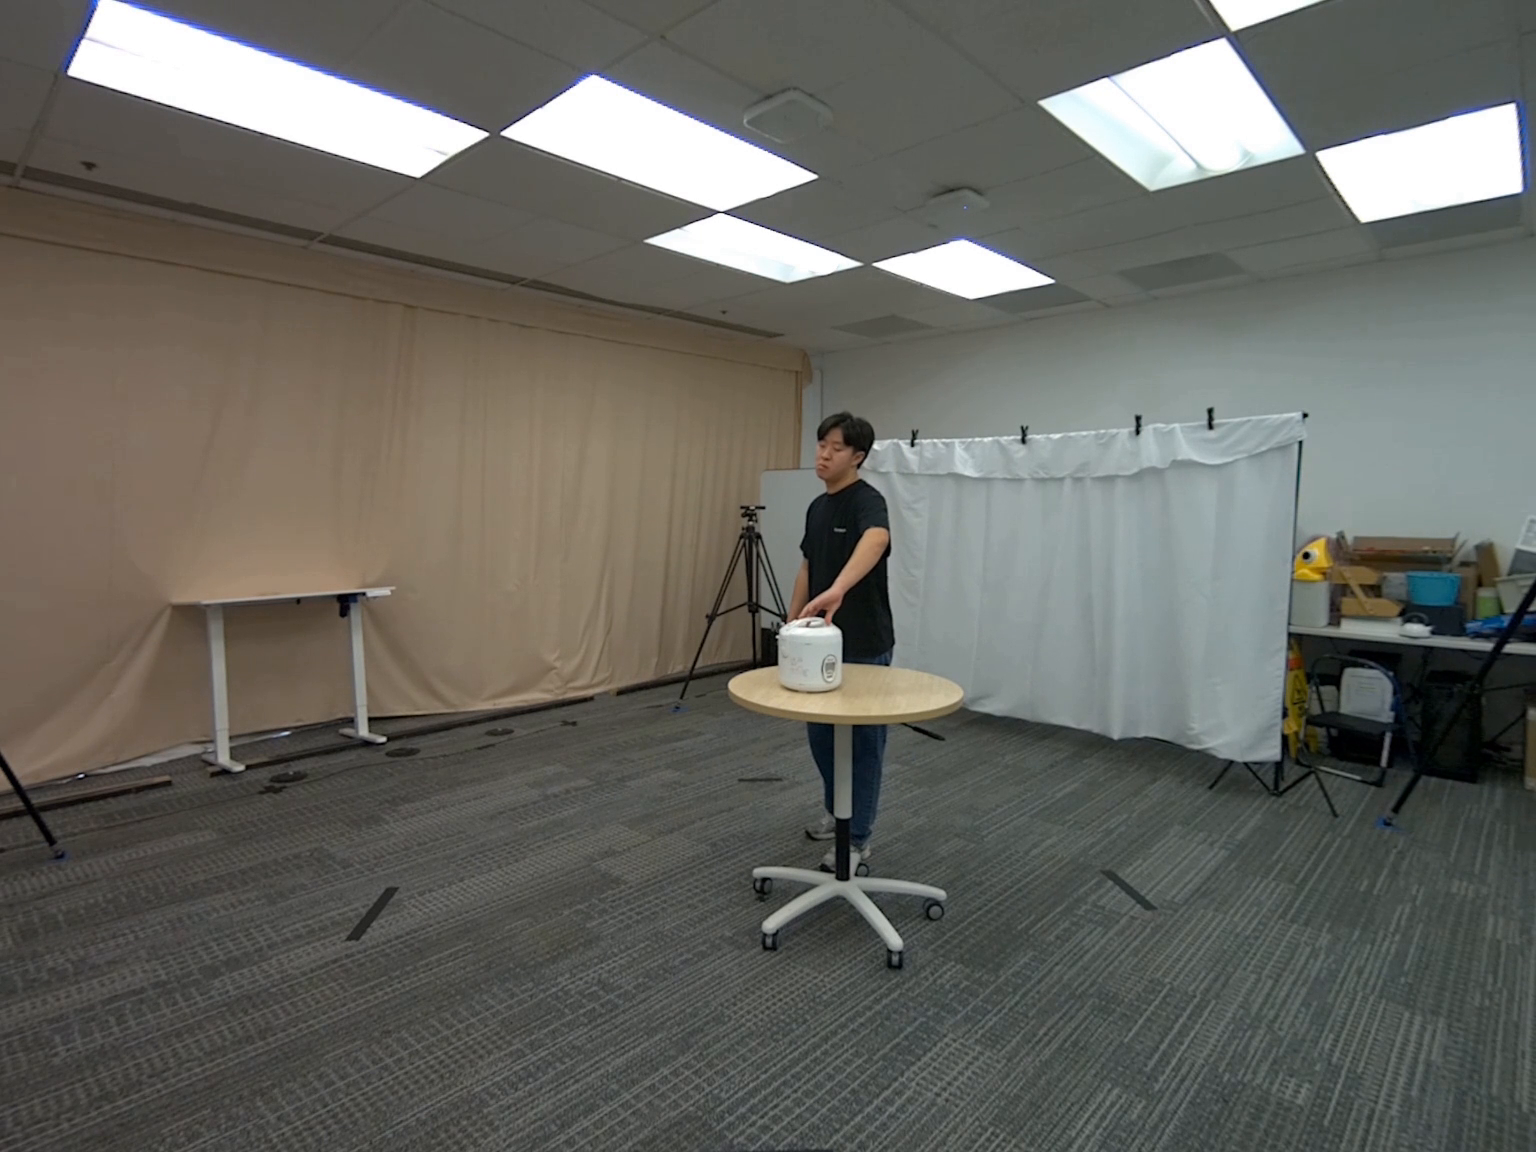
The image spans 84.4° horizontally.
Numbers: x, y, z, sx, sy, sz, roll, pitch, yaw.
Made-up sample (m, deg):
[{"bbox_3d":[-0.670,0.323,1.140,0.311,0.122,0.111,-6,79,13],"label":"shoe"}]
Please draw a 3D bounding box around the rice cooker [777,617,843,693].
[{"bbox_3d":[0.139,0.250,2.762,0.215,0.232,0.224,-3,5,-31],"label":"rice cooker"}]
